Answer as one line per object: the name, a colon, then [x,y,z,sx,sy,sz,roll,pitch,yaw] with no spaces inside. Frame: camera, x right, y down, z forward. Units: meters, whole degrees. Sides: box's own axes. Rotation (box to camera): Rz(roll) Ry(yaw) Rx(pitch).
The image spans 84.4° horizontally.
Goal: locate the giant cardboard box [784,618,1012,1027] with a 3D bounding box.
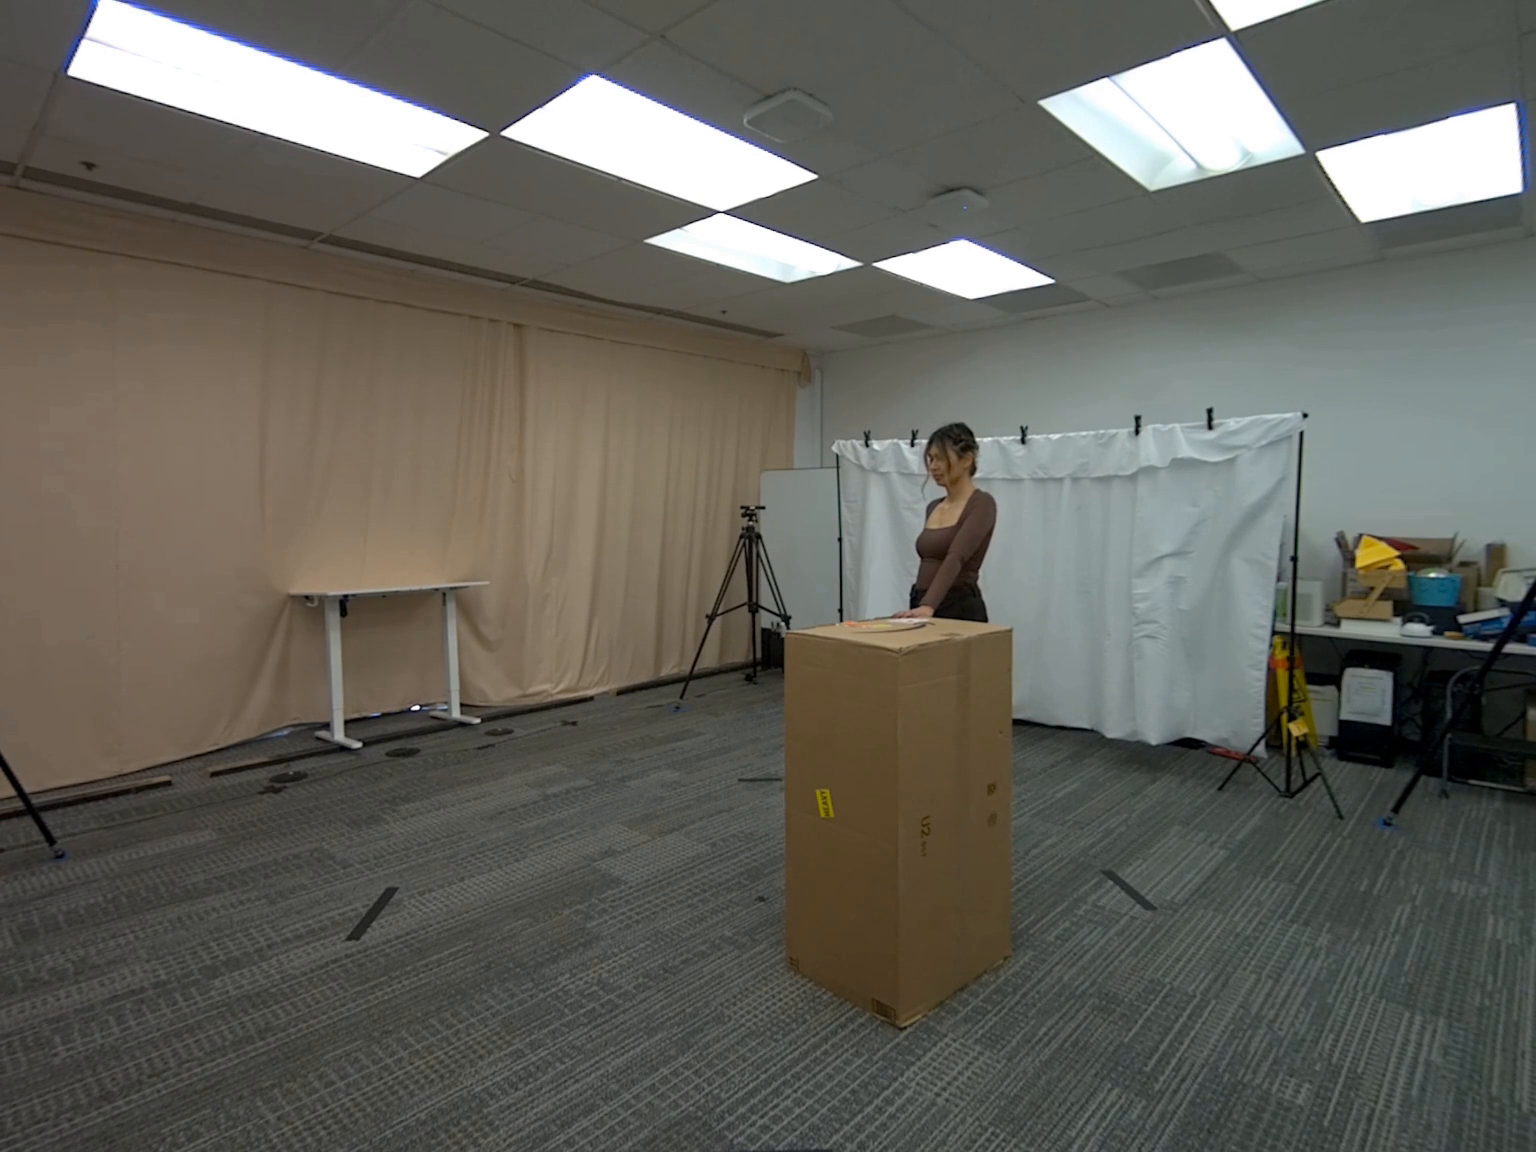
giant cardboard box: [0.404,0.670,2.553,0.566,1.025,0.461,-3,3,-41]
